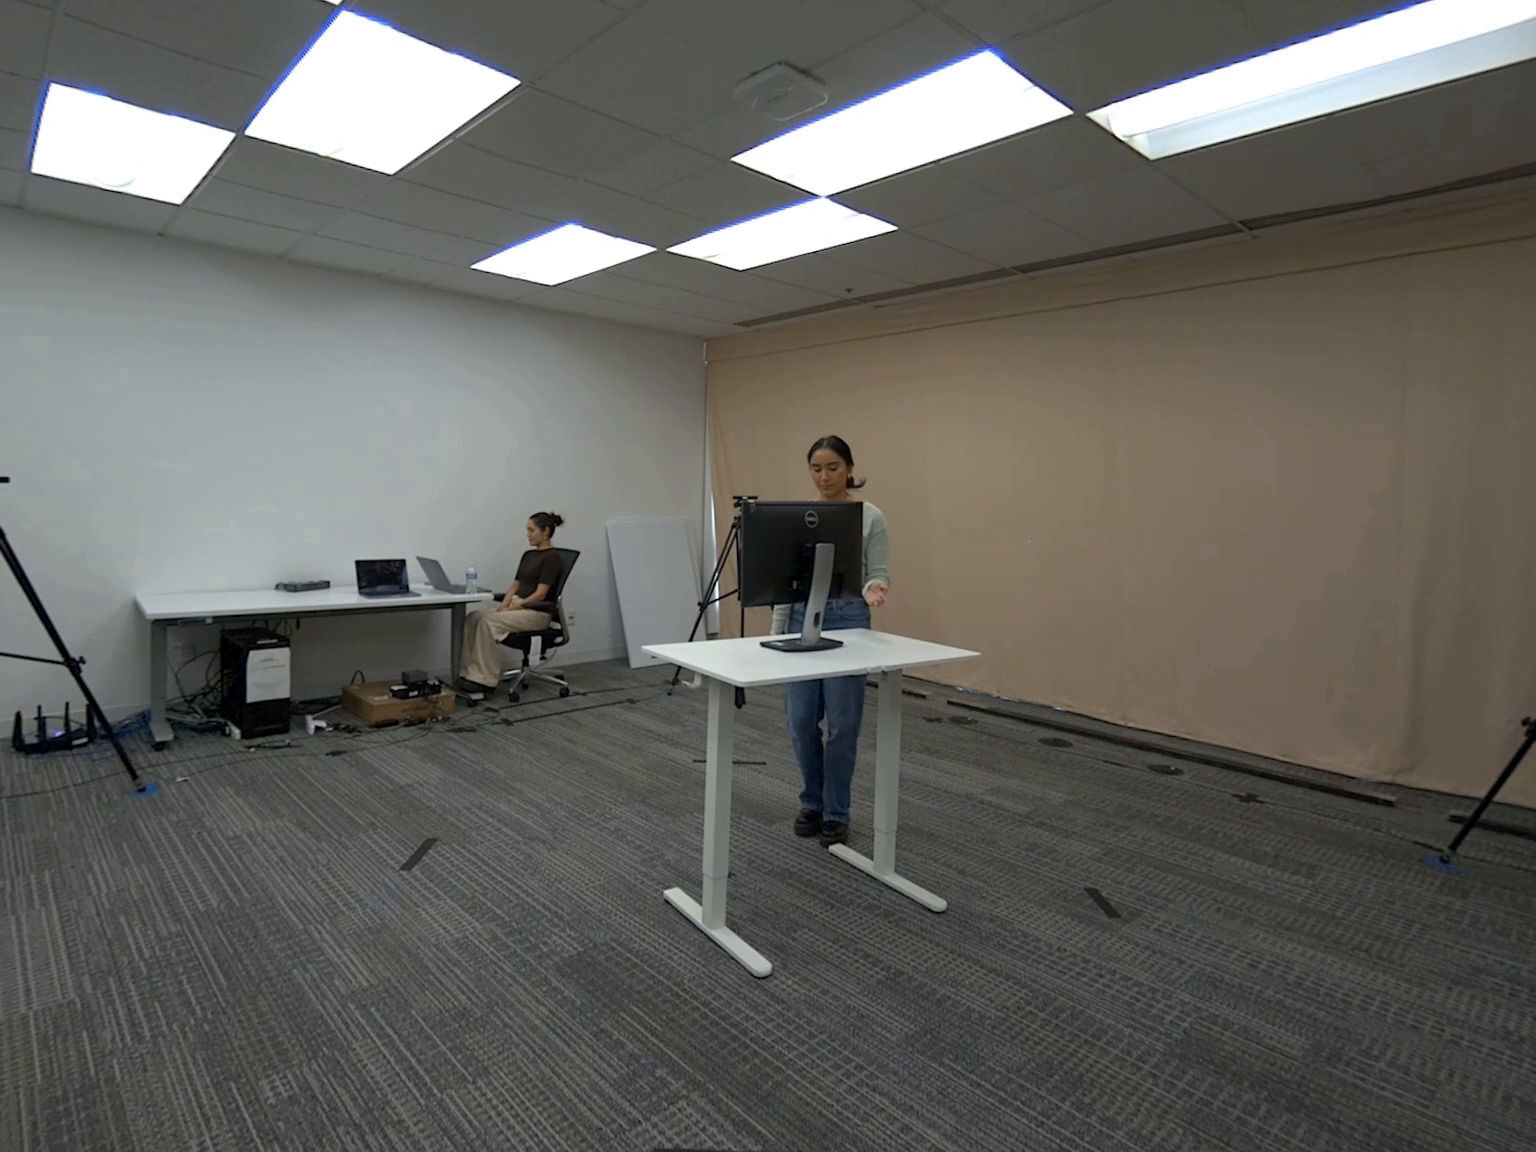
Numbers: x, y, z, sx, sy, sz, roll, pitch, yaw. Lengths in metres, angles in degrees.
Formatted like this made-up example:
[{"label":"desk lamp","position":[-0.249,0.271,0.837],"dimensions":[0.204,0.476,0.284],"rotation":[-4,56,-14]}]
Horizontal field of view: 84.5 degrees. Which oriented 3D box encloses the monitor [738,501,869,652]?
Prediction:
[{"label":"monitor","position":[0.135,0.004,2.891],"dimensions":[0.527,0.522,0.191],"rotation":[-3,0,-37]}]
